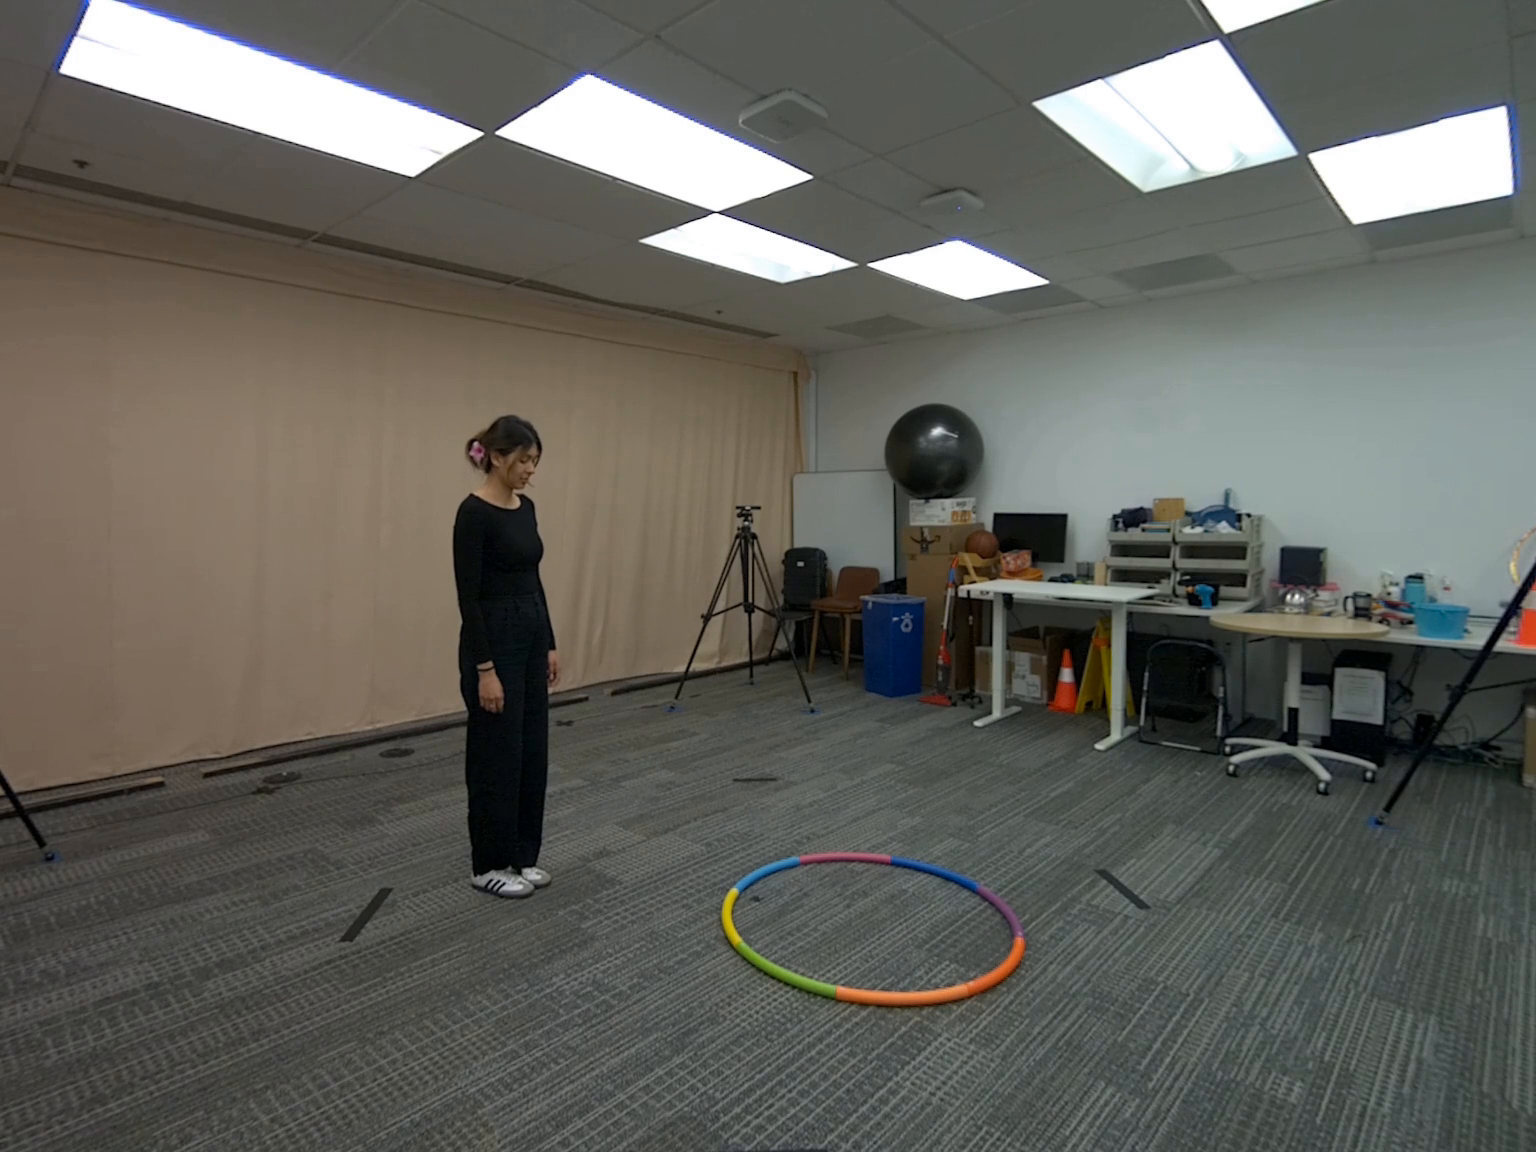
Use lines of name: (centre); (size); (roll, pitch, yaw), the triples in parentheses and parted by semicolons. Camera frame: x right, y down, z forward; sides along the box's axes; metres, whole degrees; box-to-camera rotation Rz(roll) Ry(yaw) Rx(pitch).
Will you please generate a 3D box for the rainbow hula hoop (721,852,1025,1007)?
rainbow hula hoop: (0.337, 1.125, 2.826); (0.978, 0.035, 0.982); (0, 5, -2)
